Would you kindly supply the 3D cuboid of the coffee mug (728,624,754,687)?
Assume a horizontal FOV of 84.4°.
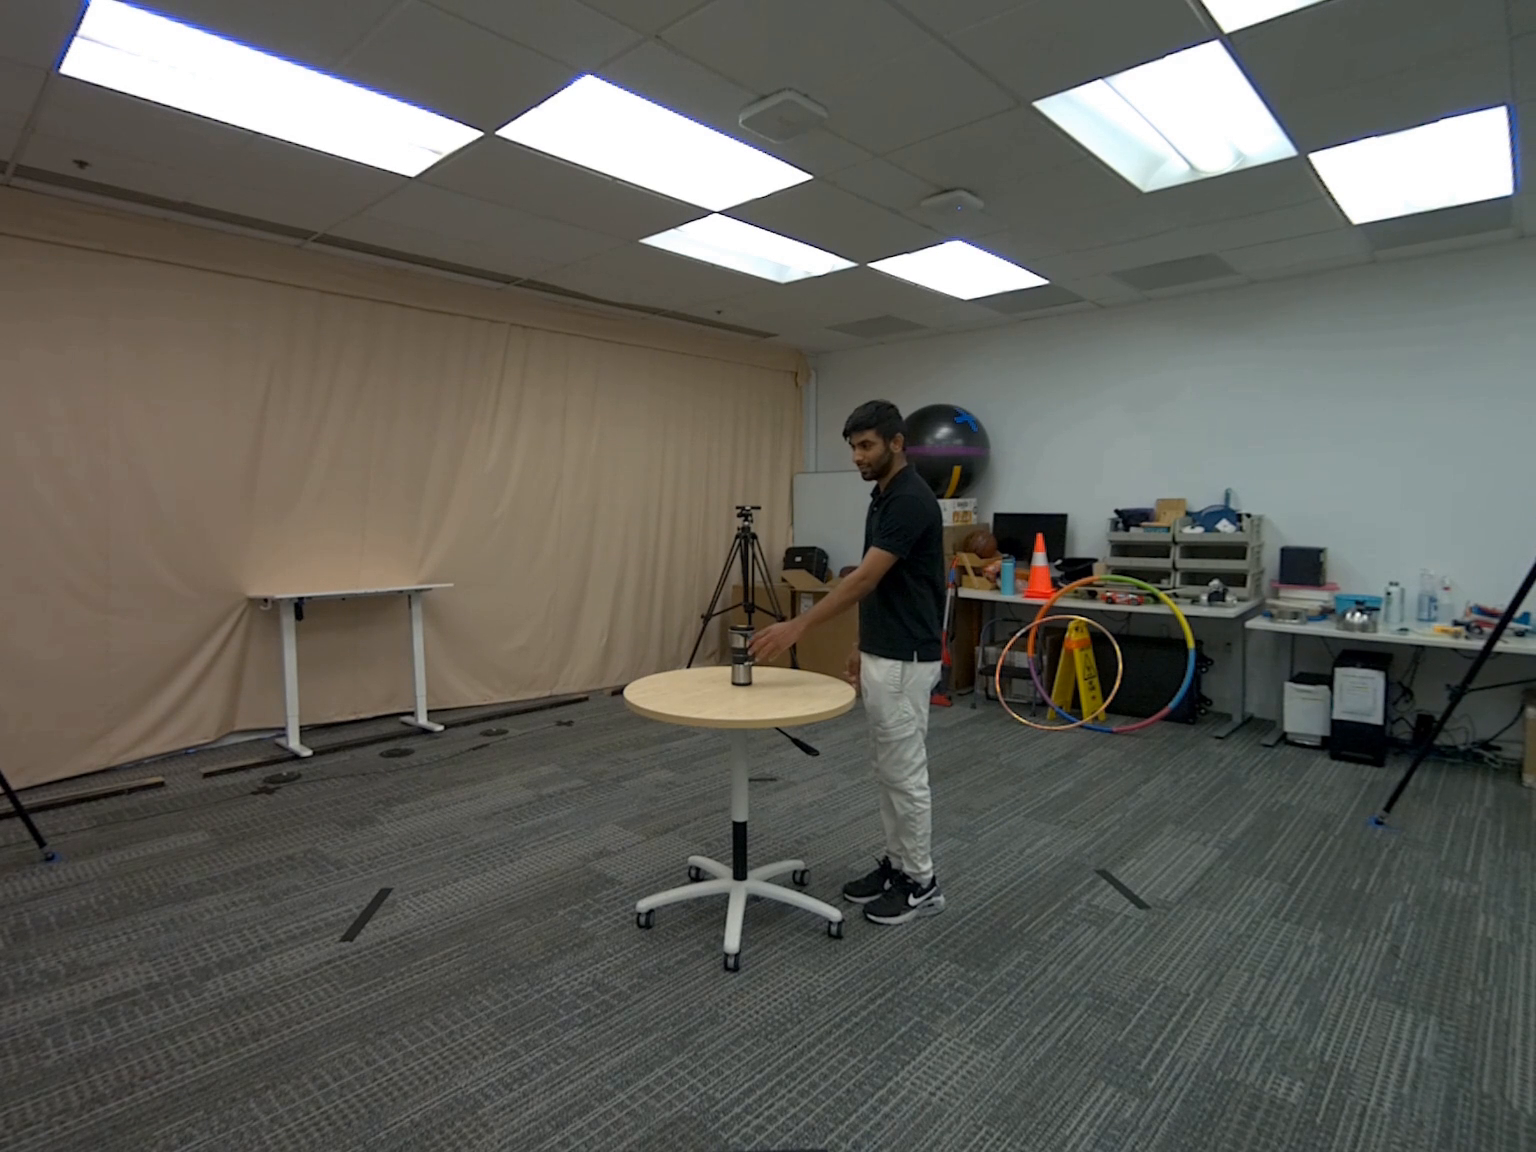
[{"bbox_3d":[-0.096,0.275,2.859,0.091,0.203,0.118,5,1,41],"label":"coffee mug"}]
